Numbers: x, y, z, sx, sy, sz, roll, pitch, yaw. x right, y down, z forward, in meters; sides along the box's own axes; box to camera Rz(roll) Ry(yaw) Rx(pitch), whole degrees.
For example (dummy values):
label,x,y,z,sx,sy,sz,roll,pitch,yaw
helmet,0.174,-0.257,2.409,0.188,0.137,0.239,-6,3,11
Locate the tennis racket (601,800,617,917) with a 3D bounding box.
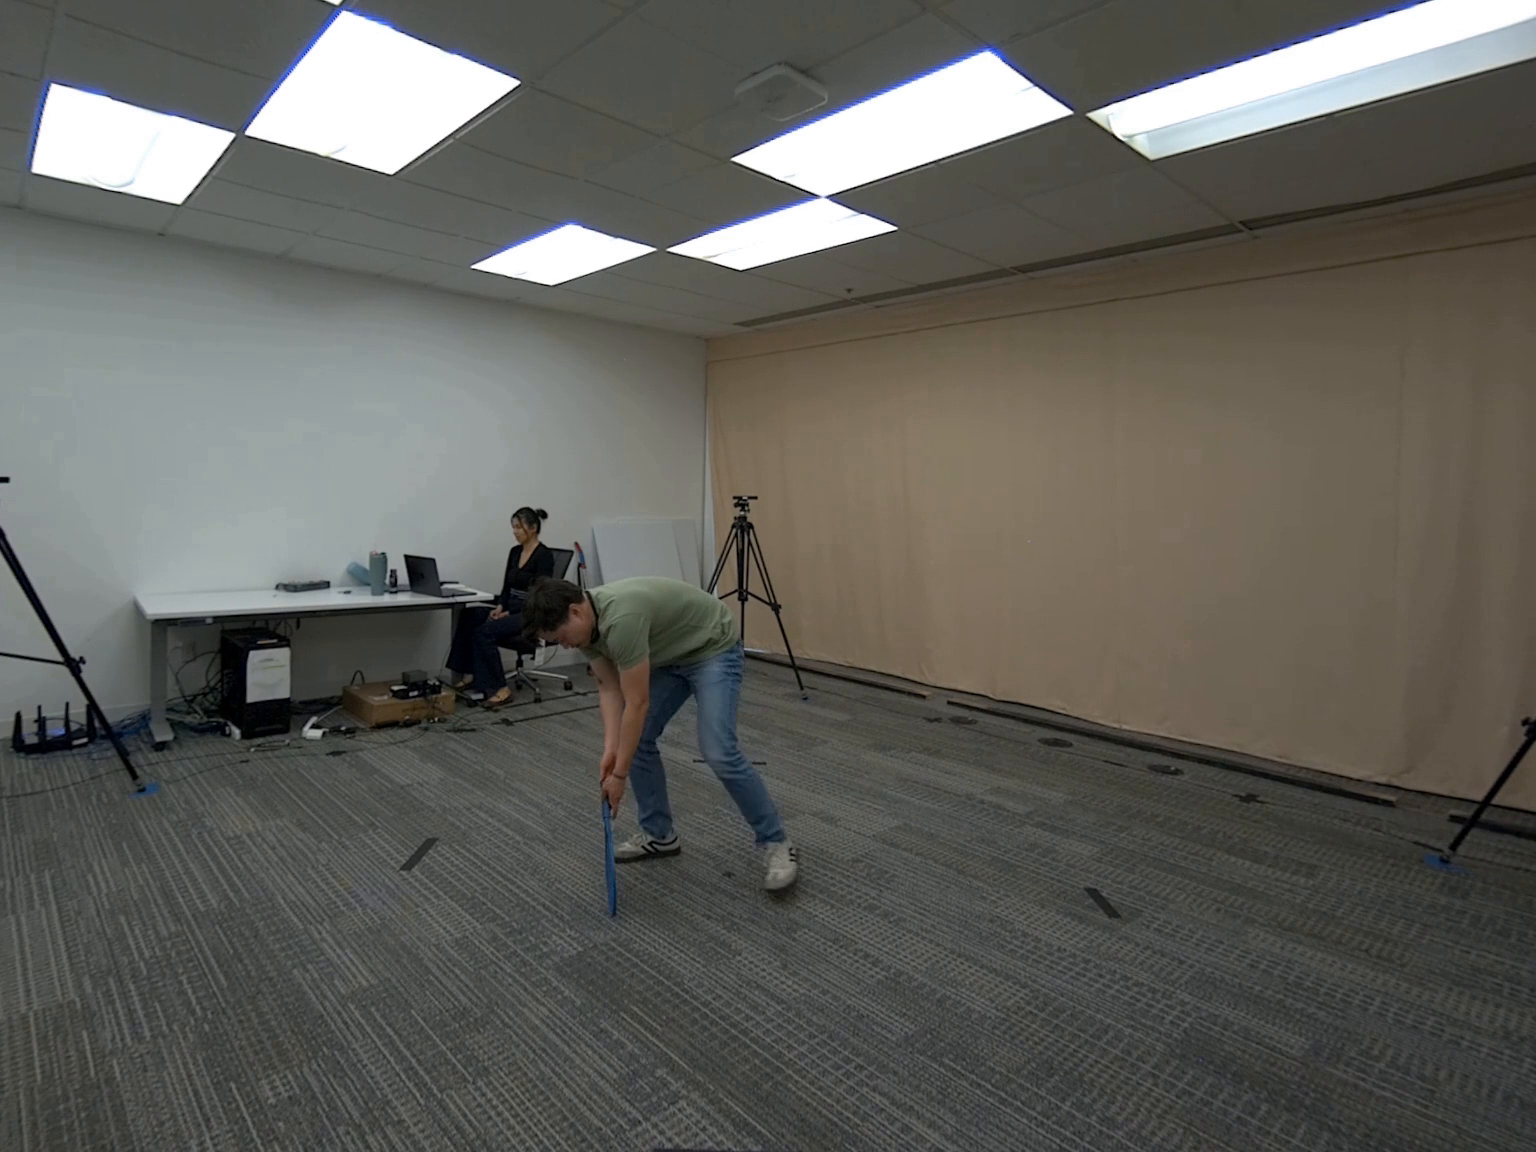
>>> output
label,x,y,z,sx,sy,sz,roll,pitch,yaw
tennis racket,-0.550,0.923,2.837,0.031,0.440,0.212,-2,-23,-15
